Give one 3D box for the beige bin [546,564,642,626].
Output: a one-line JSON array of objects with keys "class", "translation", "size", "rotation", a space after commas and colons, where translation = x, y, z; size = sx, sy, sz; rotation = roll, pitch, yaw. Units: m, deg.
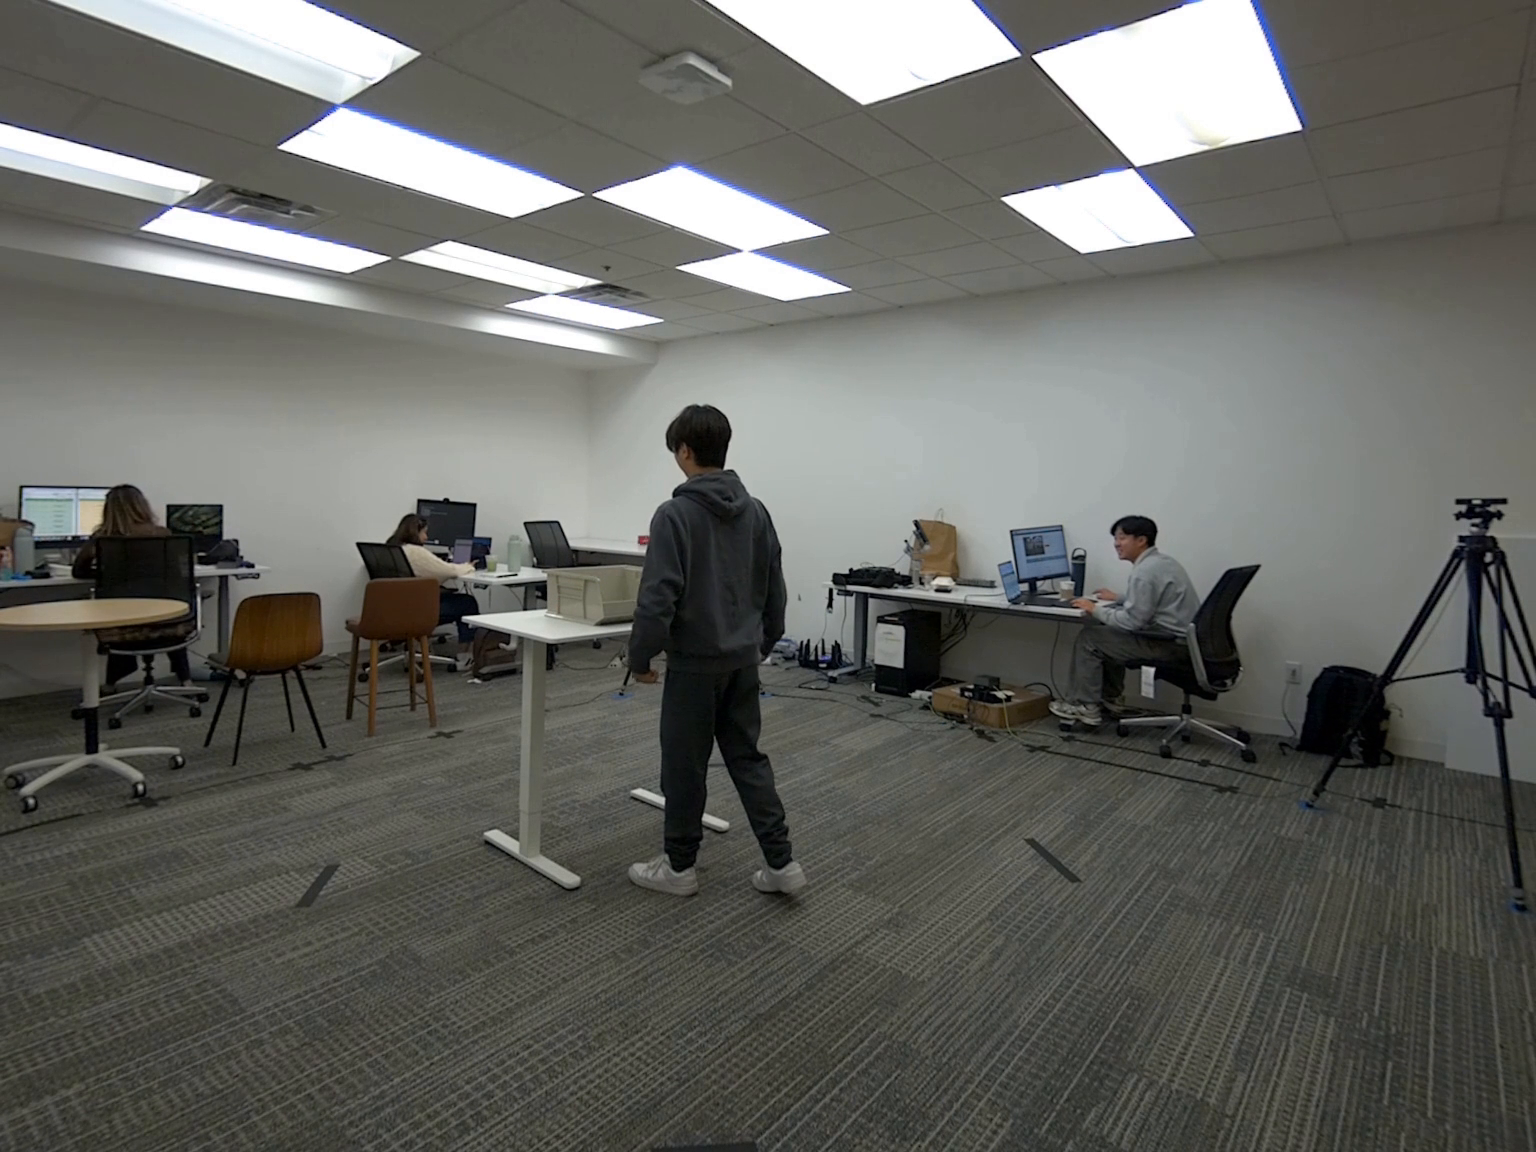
[{"class": "beige bin", "translation": [-0.606, 0.070, 3.324], "size": [0.390, 0.188, 0.409], "rotation": [5, 6, 43]}]
